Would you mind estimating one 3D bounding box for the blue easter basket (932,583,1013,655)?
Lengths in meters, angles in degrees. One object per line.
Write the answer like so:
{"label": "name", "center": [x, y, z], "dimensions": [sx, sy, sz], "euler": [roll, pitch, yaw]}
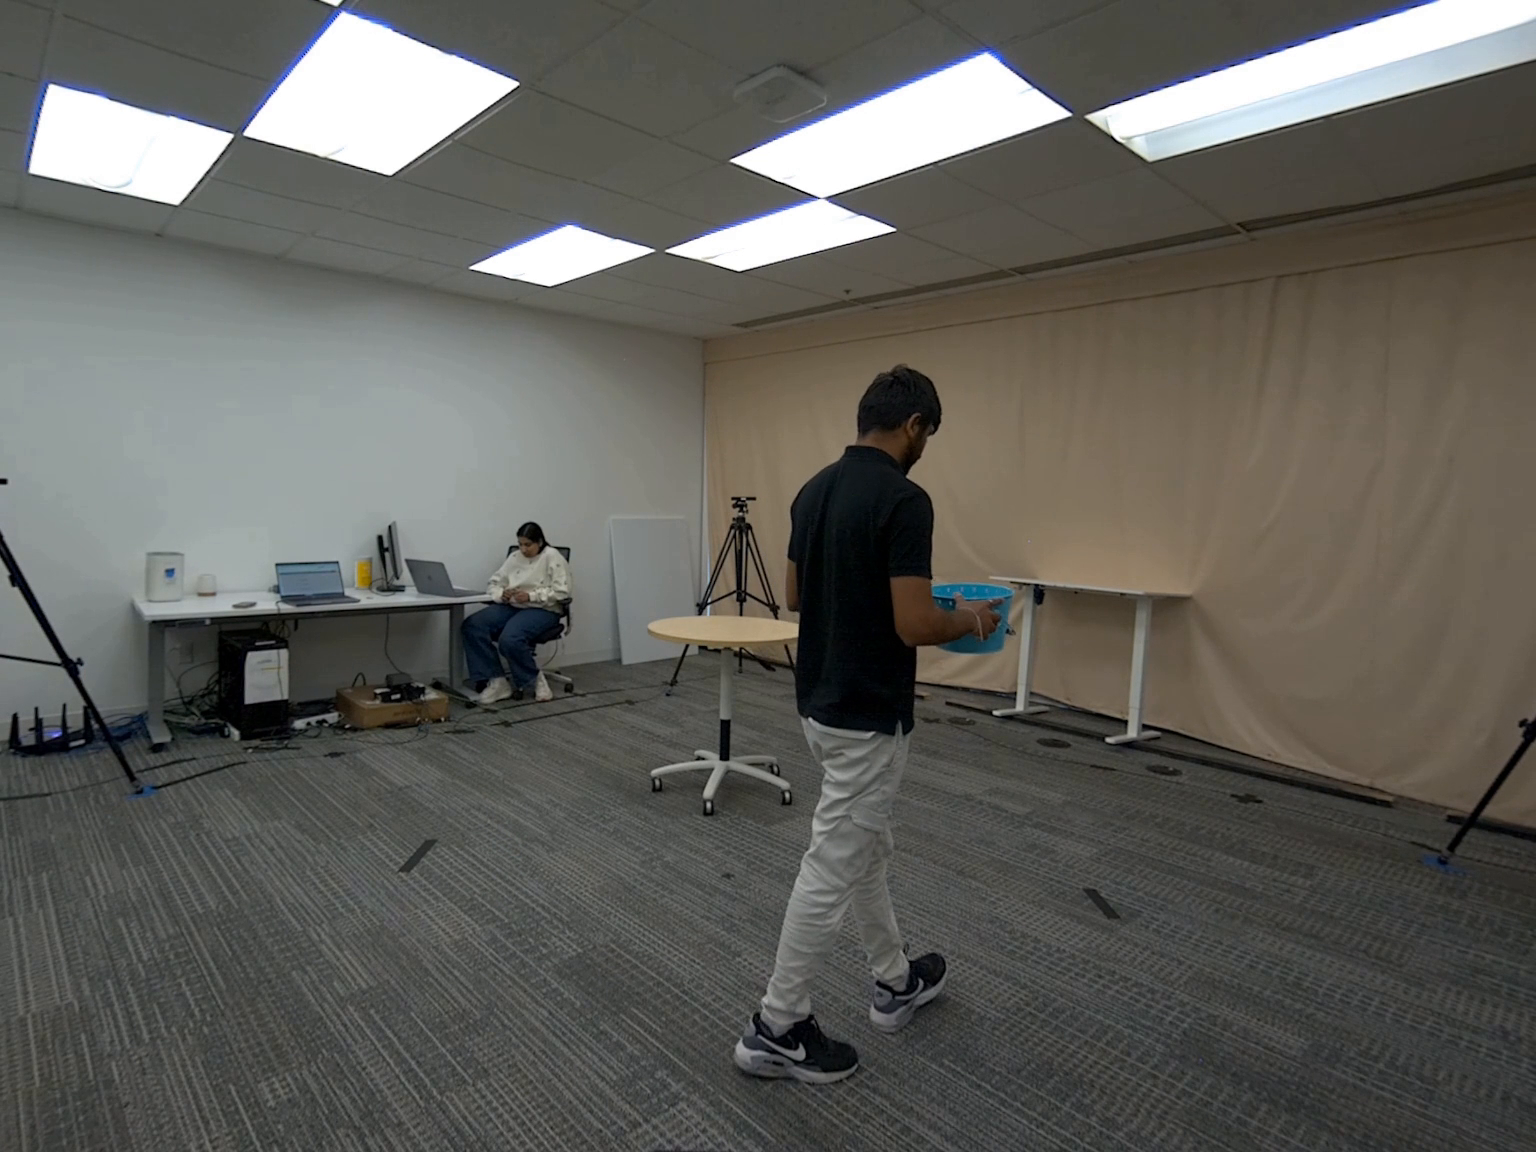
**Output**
{"label": "blue easter basket", "center": [0.548, 0.116, 2.277], "dimensions": [0.243, 0.155, 0.245], "euler": [-2, 8, -1]}
